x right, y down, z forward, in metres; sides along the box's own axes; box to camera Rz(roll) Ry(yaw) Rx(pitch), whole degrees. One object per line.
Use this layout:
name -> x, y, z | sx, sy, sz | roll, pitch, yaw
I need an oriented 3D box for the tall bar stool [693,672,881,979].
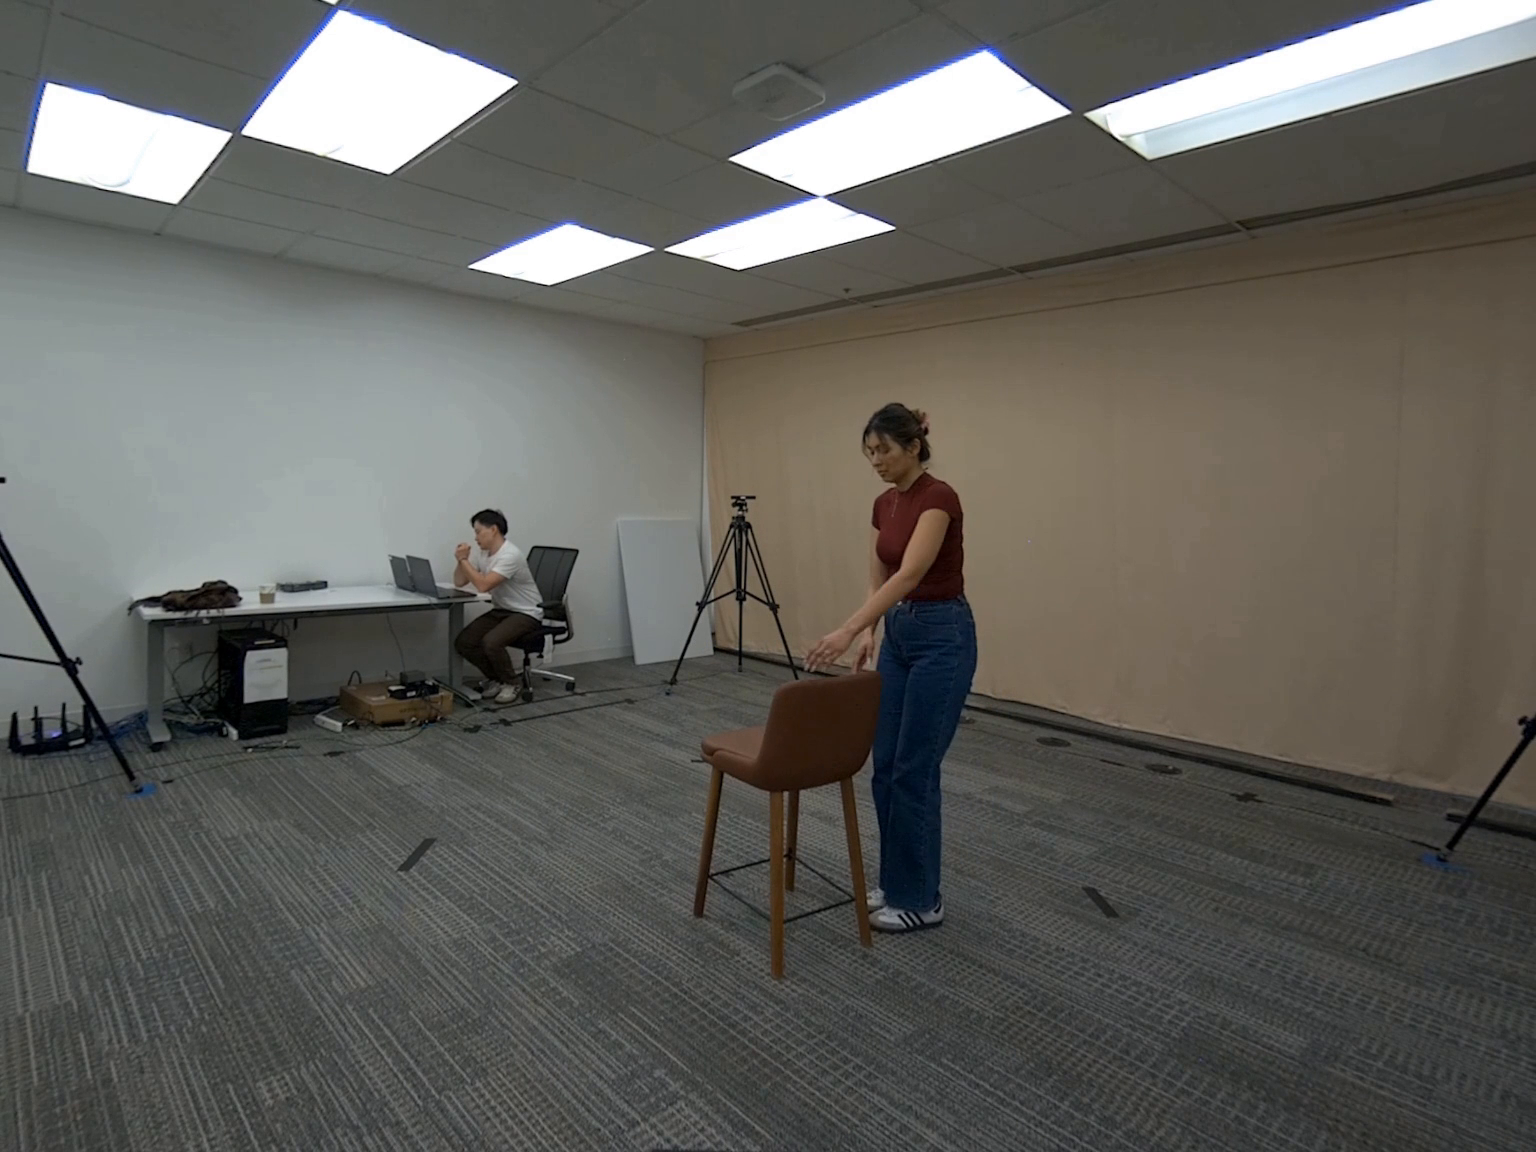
tall bar stool -> 0.052, 0.710, 2.681 | 0.446, 0.887, 0.479 | -1, 6, -35
